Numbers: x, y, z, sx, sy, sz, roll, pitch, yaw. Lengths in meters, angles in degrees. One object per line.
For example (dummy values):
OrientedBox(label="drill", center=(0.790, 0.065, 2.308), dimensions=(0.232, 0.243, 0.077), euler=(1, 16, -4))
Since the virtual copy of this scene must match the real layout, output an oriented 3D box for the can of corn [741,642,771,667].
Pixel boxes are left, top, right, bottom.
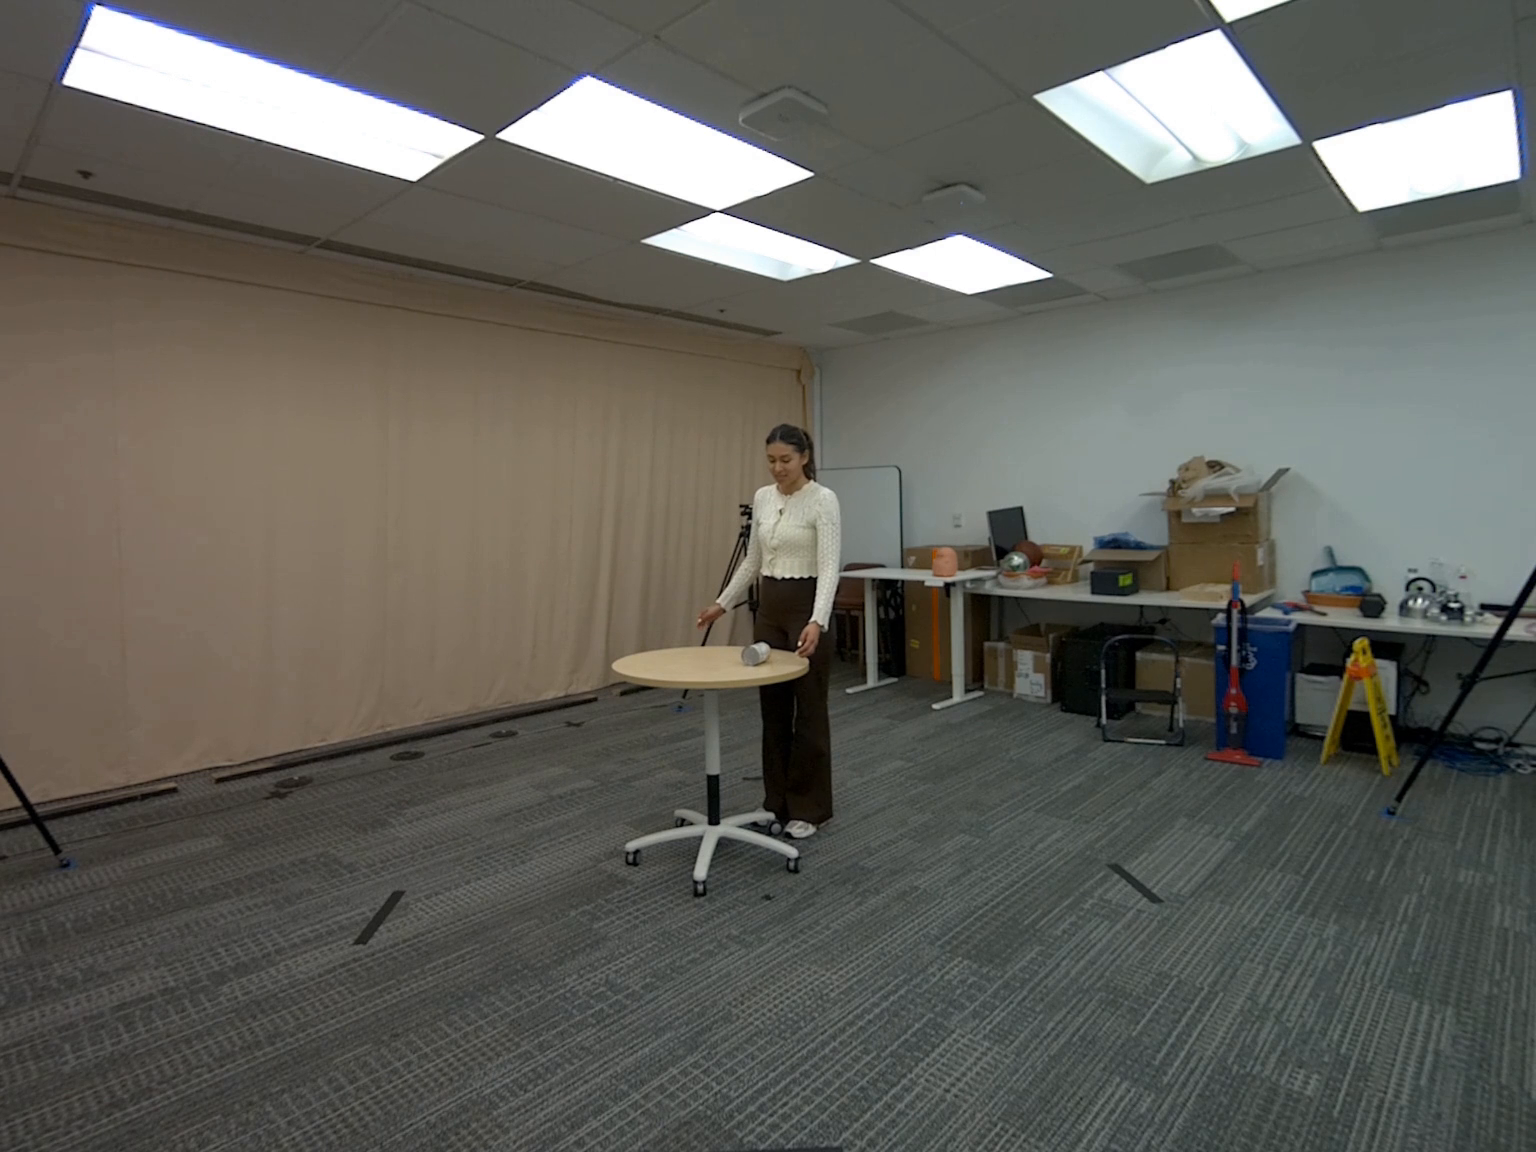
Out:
OrientedBox(label="can of corn", center=(-0.061, 0.301, 3.217), dimensions=(0.075, 0.074, 0.109), euler=(0, 0, 12))
